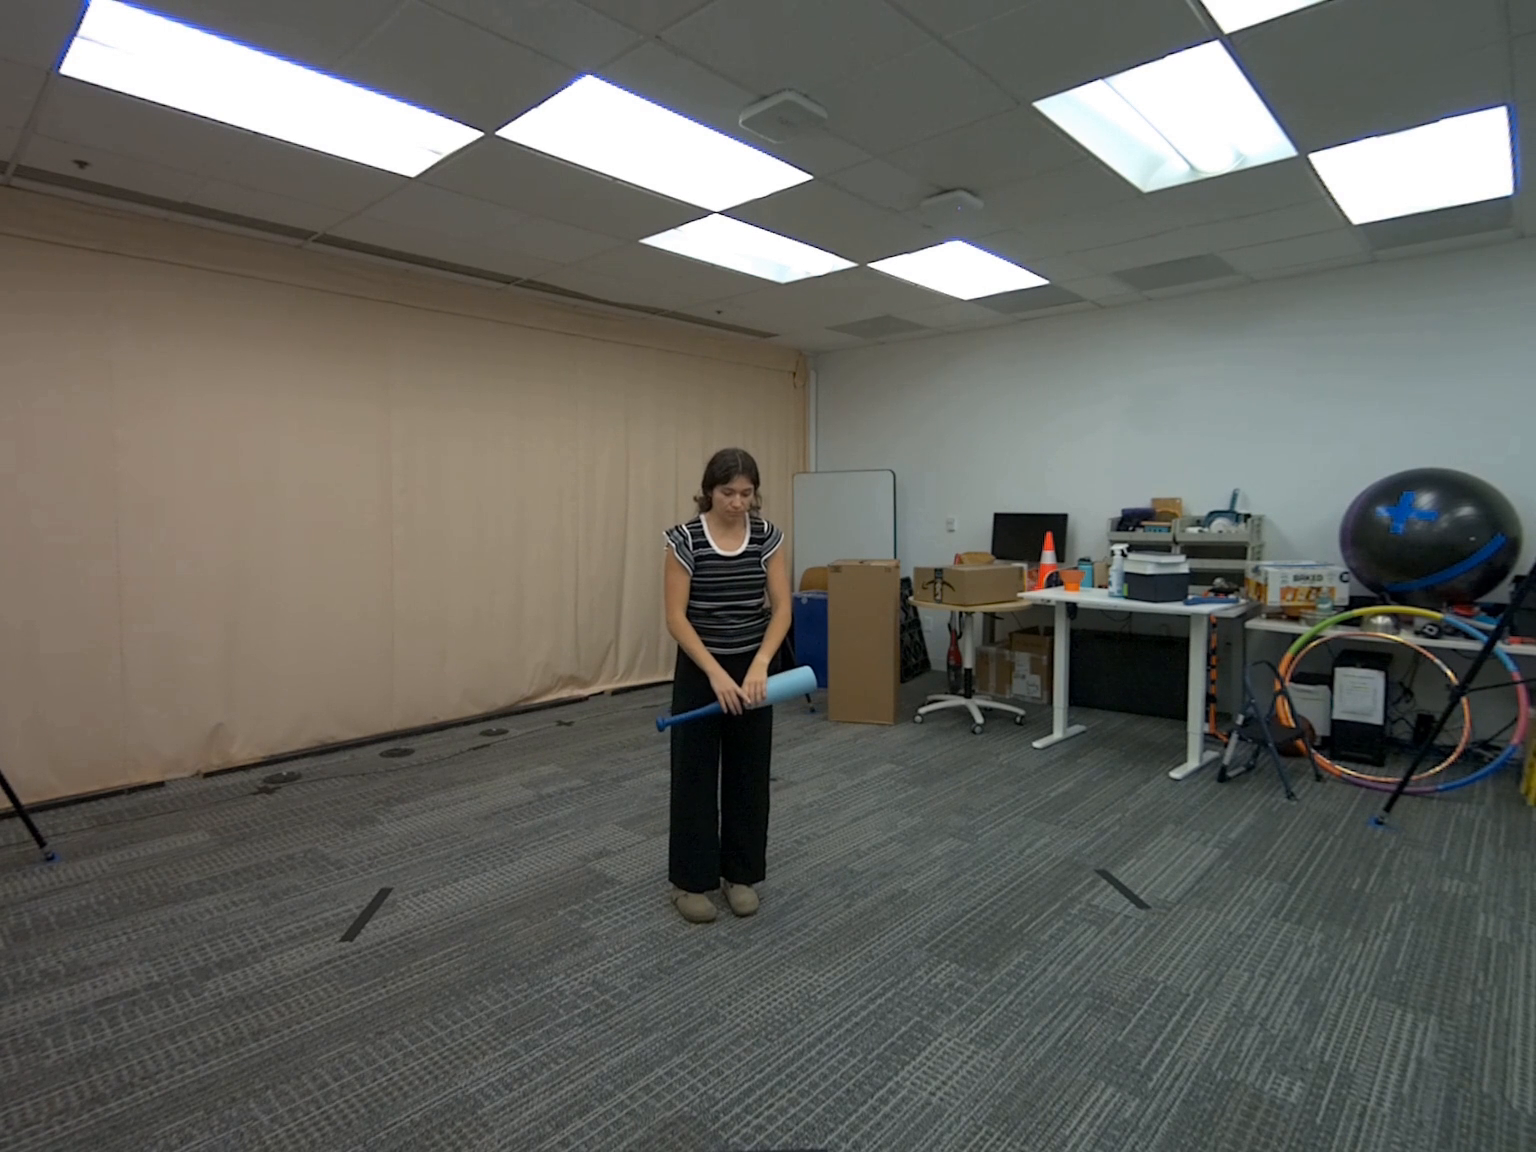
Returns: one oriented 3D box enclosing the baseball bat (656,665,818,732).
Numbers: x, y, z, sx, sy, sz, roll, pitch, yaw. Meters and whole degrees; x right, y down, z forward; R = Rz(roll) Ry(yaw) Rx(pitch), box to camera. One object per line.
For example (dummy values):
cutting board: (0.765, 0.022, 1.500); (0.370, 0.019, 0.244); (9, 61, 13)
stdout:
baseball bat: (-0.111, 0.411, 2.747); (0.539, 0.088, 0.090); (-15, 6, -7)
